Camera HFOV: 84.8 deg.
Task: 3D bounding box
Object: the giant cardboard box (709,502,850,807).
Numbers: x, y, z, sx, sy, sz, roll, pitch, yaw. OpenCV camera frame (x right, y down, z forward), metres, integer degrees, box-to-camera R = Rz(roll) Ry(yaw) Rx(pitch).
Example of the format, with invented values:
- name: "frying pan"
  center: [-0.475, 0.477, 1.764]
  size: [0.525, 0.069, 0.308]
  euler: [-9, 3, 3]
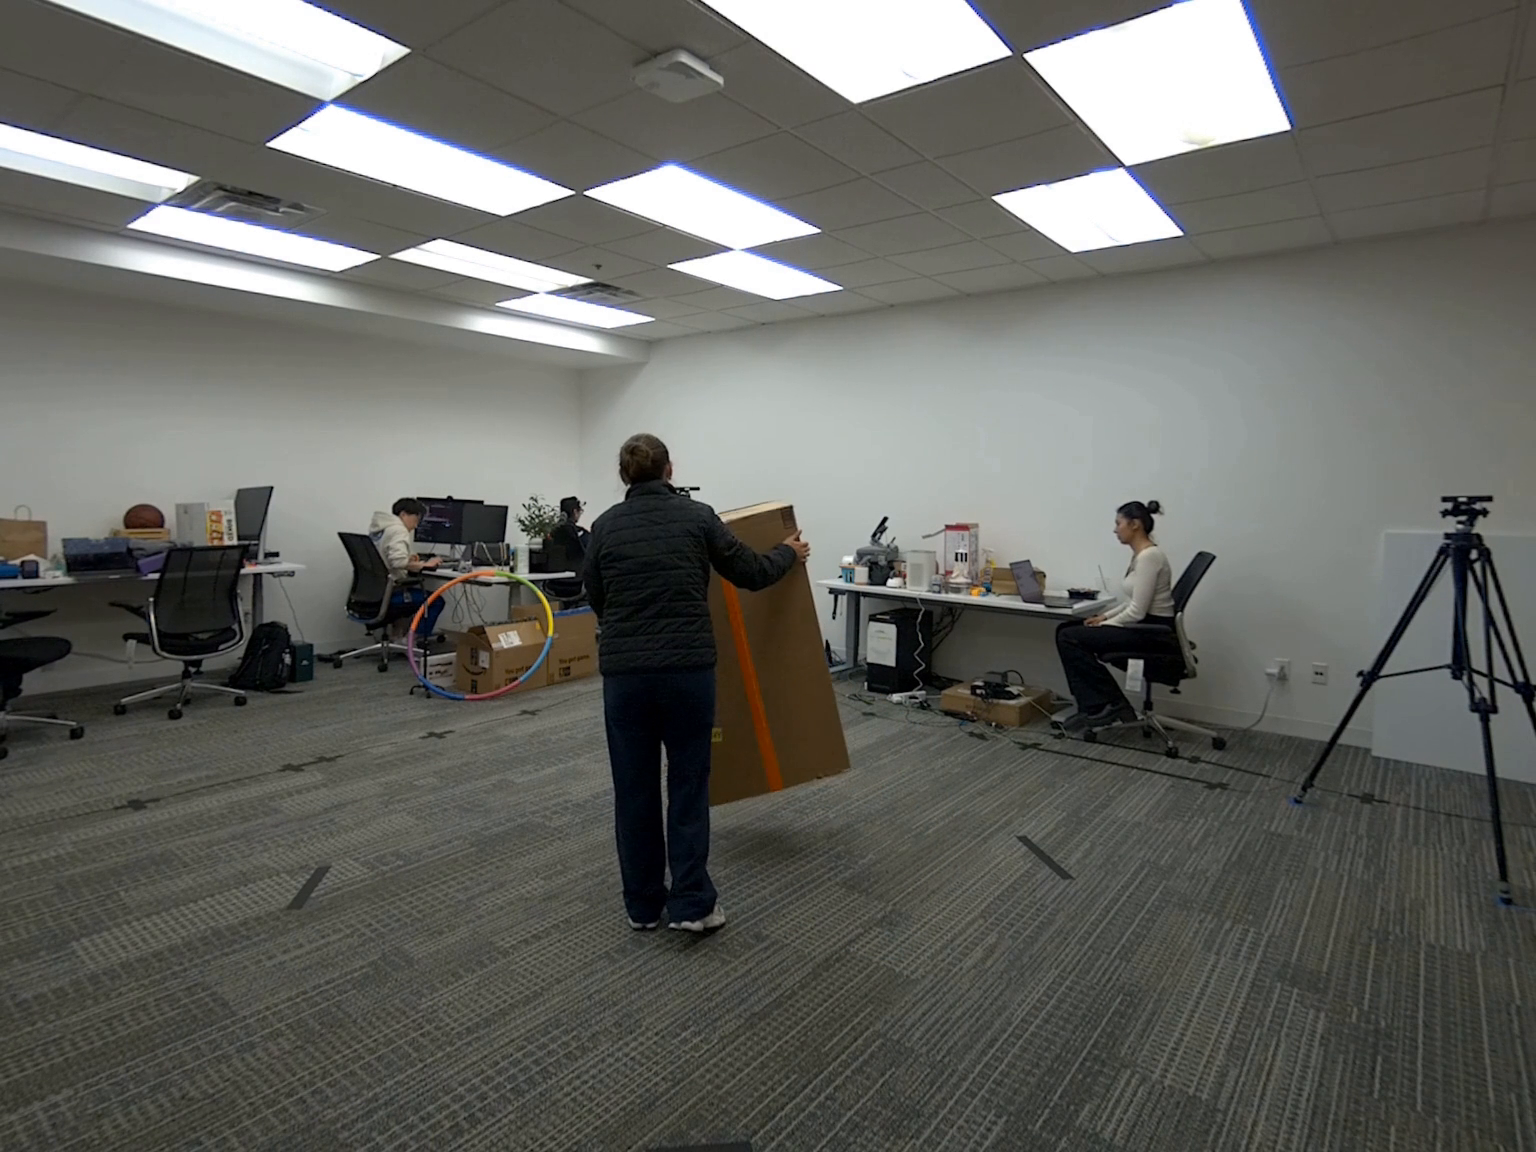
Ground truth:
- name: "giant cardboard box"
  center: [-0.080, 0.285, 3.320]
  size: [0.576, 1.020, 0.429]
  euler: [-13, 5, -3]
